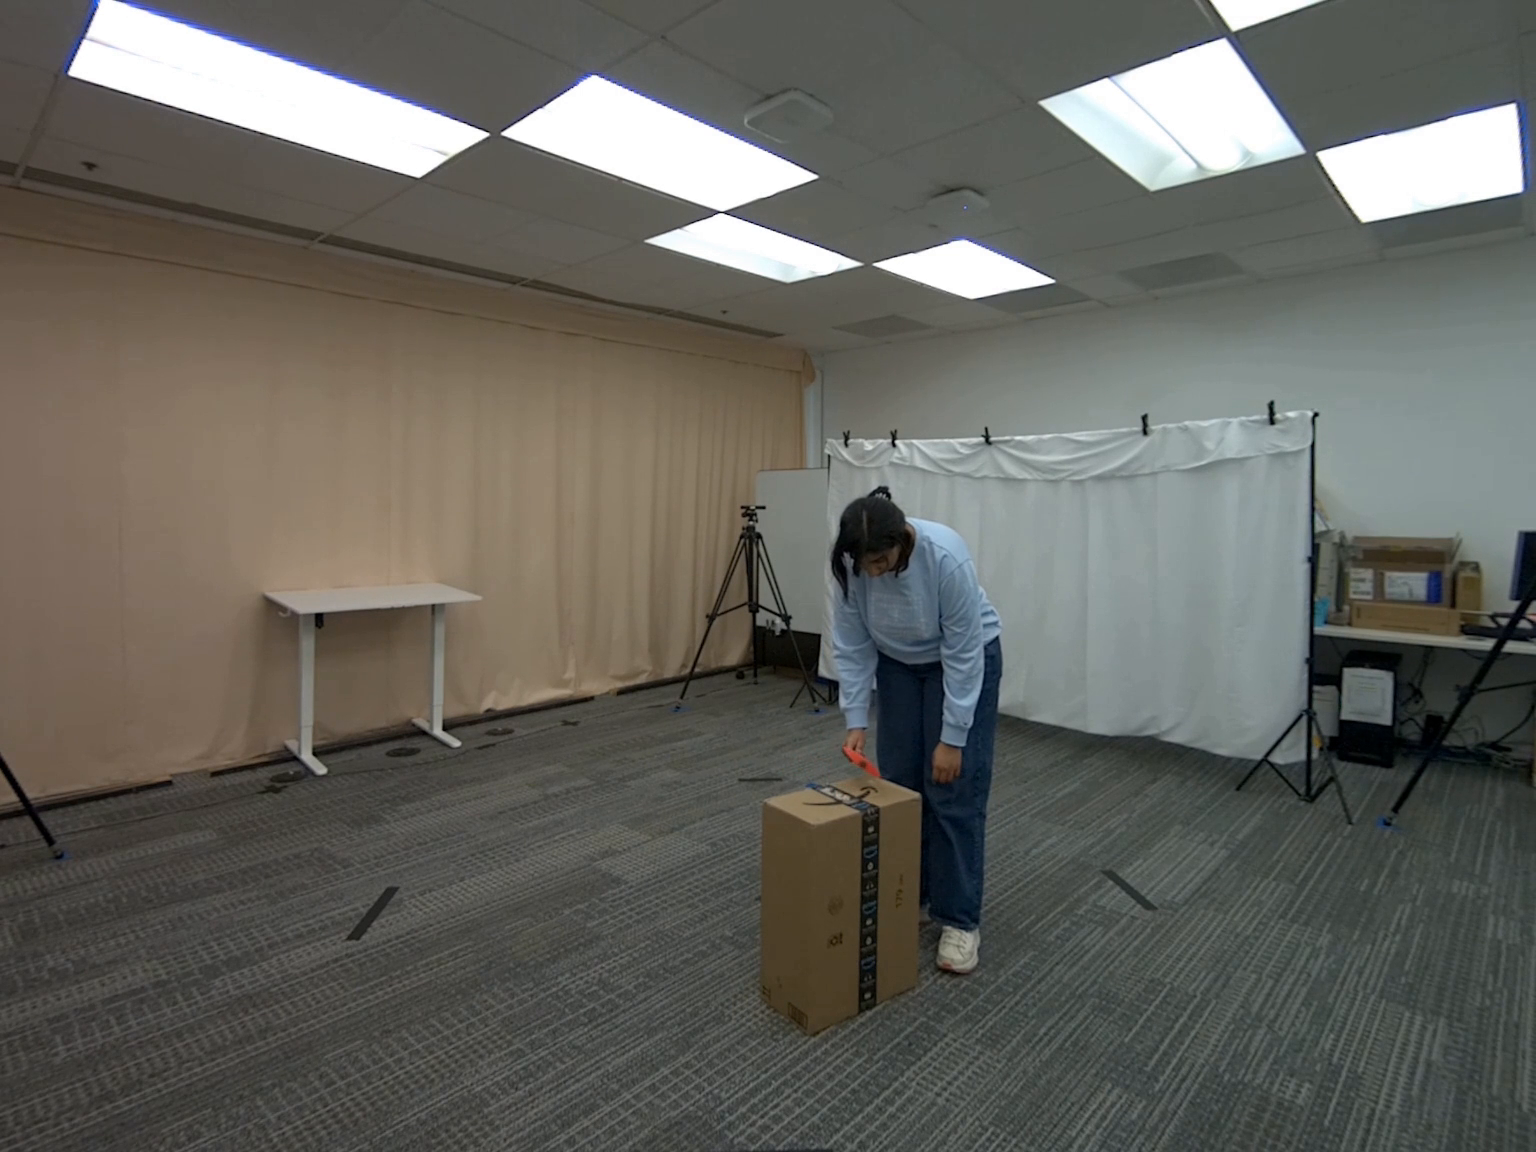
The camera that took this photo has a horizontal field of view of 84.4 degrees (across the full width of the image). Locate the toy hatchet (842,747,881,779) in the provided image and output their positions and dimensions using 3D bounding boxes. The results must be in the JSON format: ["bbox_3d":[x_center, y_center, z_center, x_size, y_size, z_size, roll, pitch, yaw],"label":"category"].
[{"bbox_3d":[0.295,0.564,2.568,0.134,0.029,0.264,34,-2,16],"label":"toy hatchet"}]
